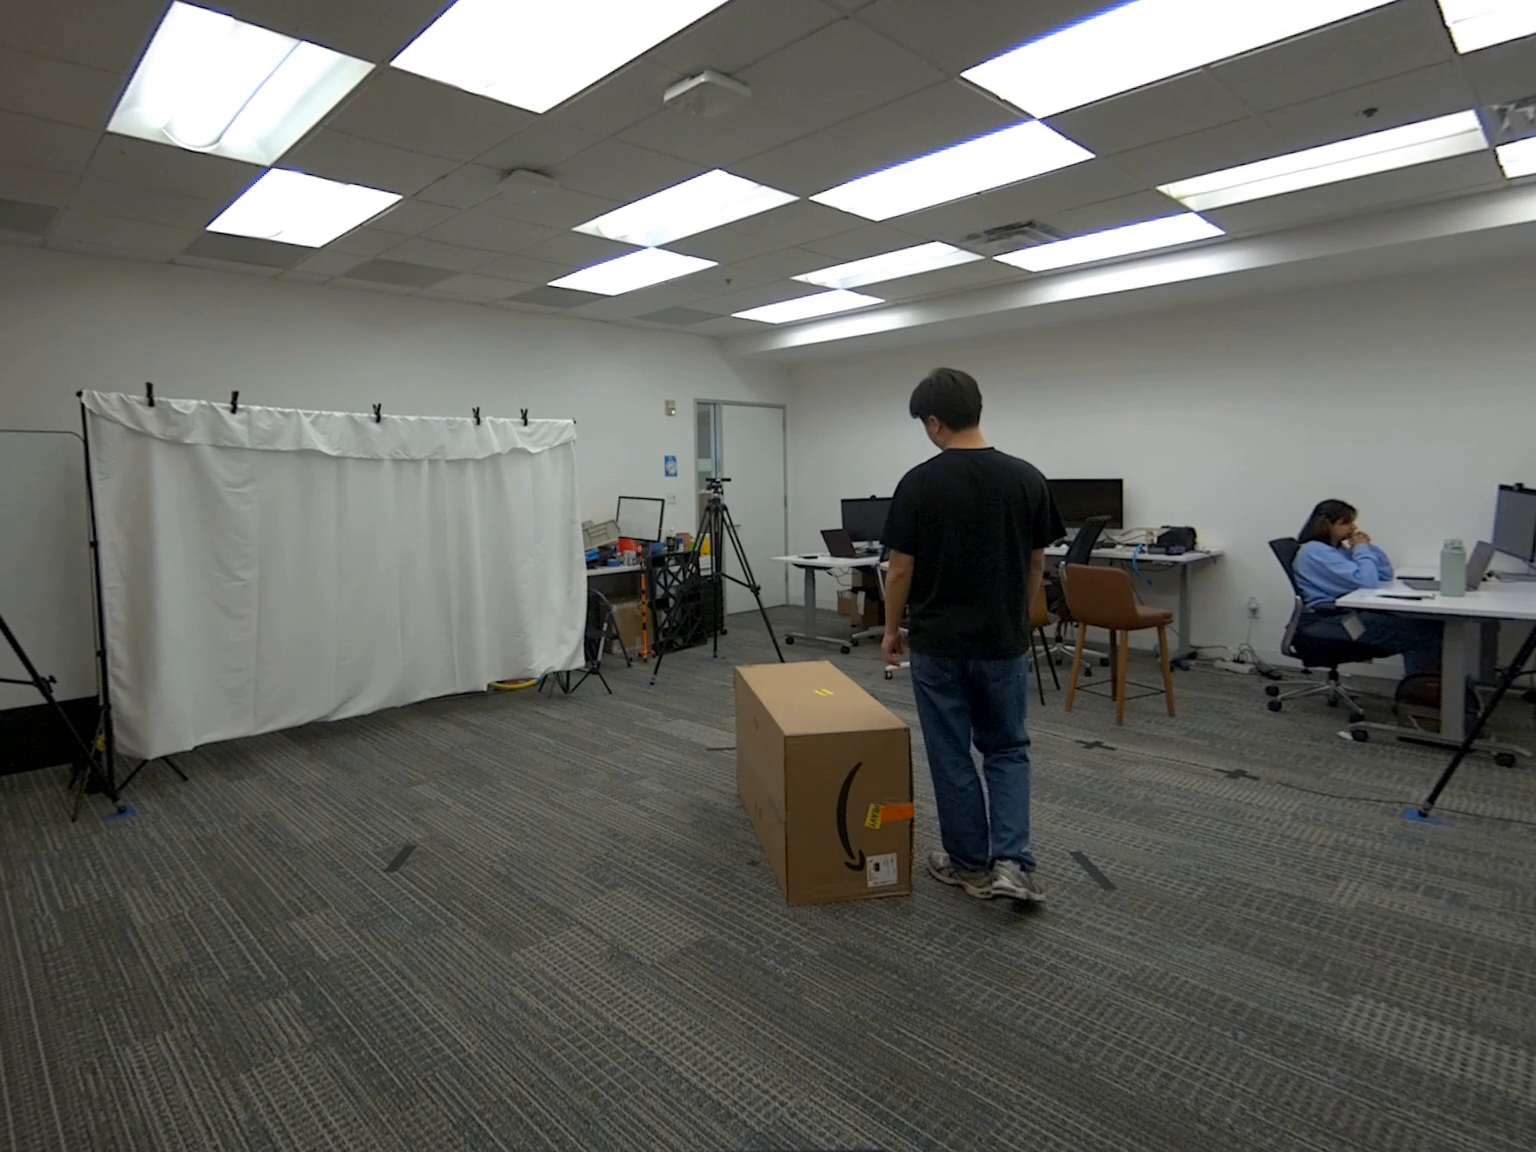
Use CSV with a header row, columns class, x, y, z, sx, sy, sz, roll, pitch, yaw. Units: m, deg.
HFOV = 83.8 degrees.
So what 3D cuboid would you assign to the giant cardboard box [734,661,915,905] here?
class,x,y,z,sx,sy,sz,roll,pitch,yaw
giant cardboard box,0.170,0.728,3.299,0.442,0.581,1.042,-1,6,-11
